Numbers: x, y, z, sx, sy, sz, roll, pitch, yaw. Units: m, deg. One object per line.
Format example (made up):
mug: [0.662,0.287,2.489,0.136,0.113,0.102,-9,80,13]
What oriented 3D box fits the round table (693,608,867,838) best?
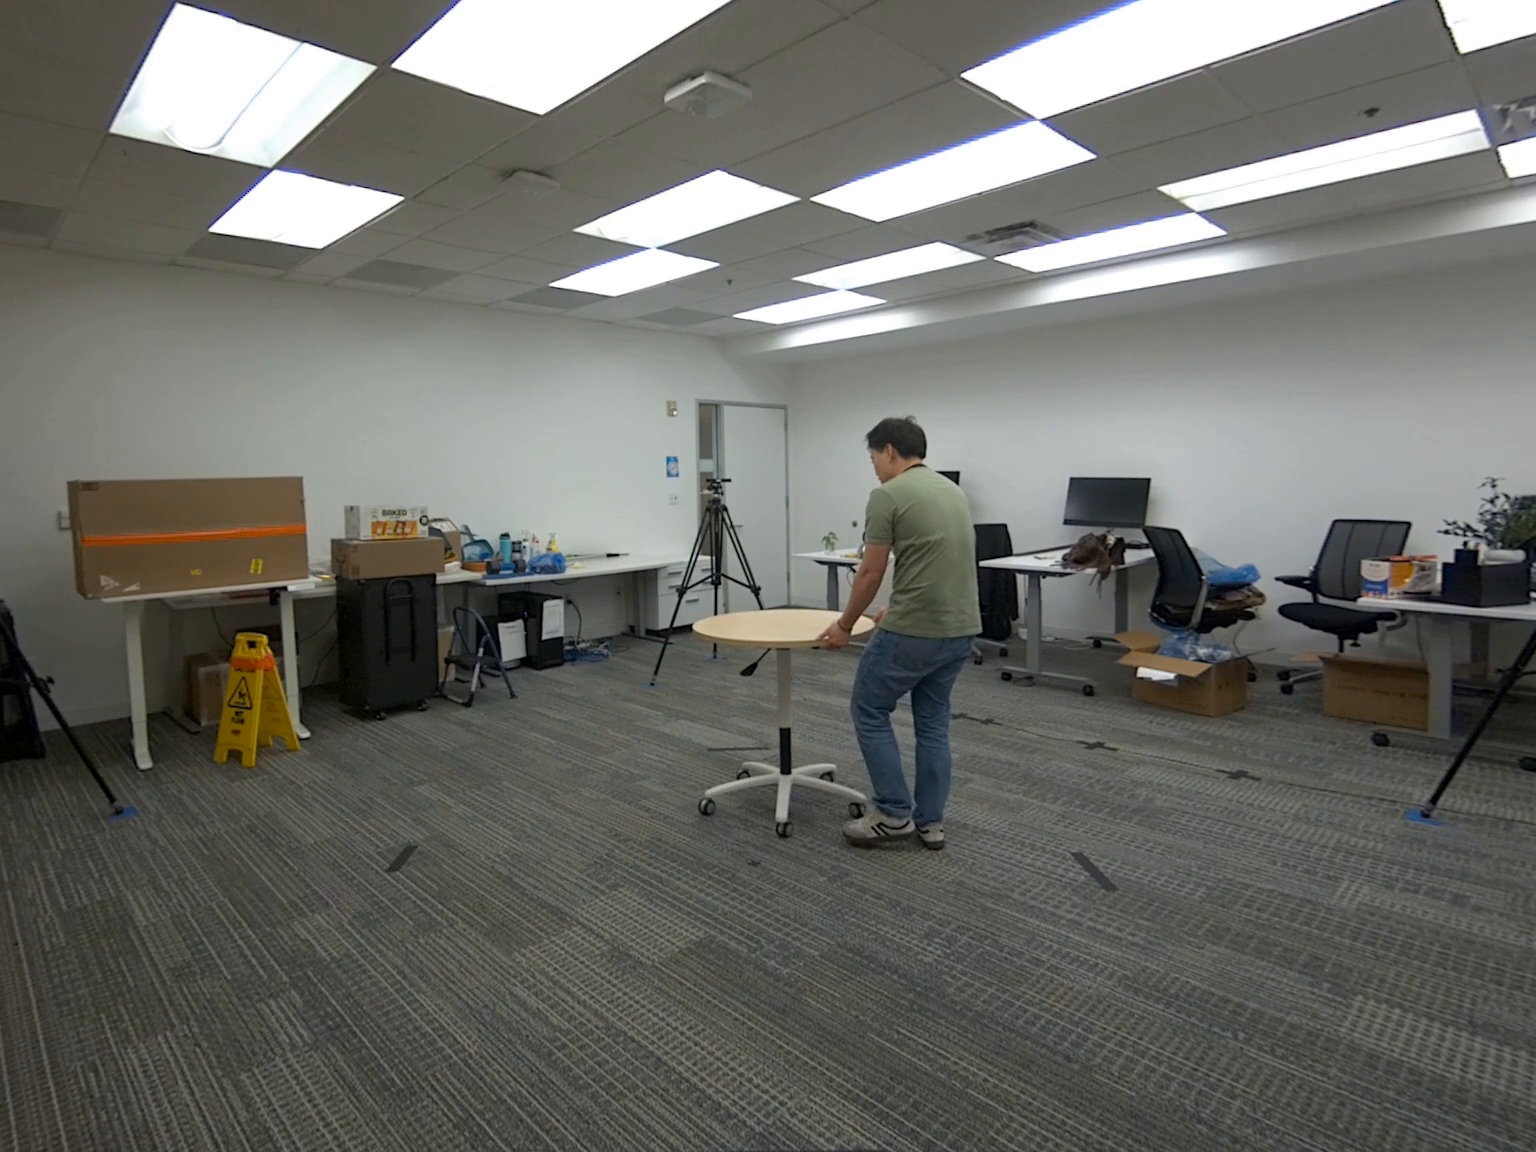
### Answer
round table: [0.070,0.594,3.633,0.763,0.791,0.768,-1,5,-2]
